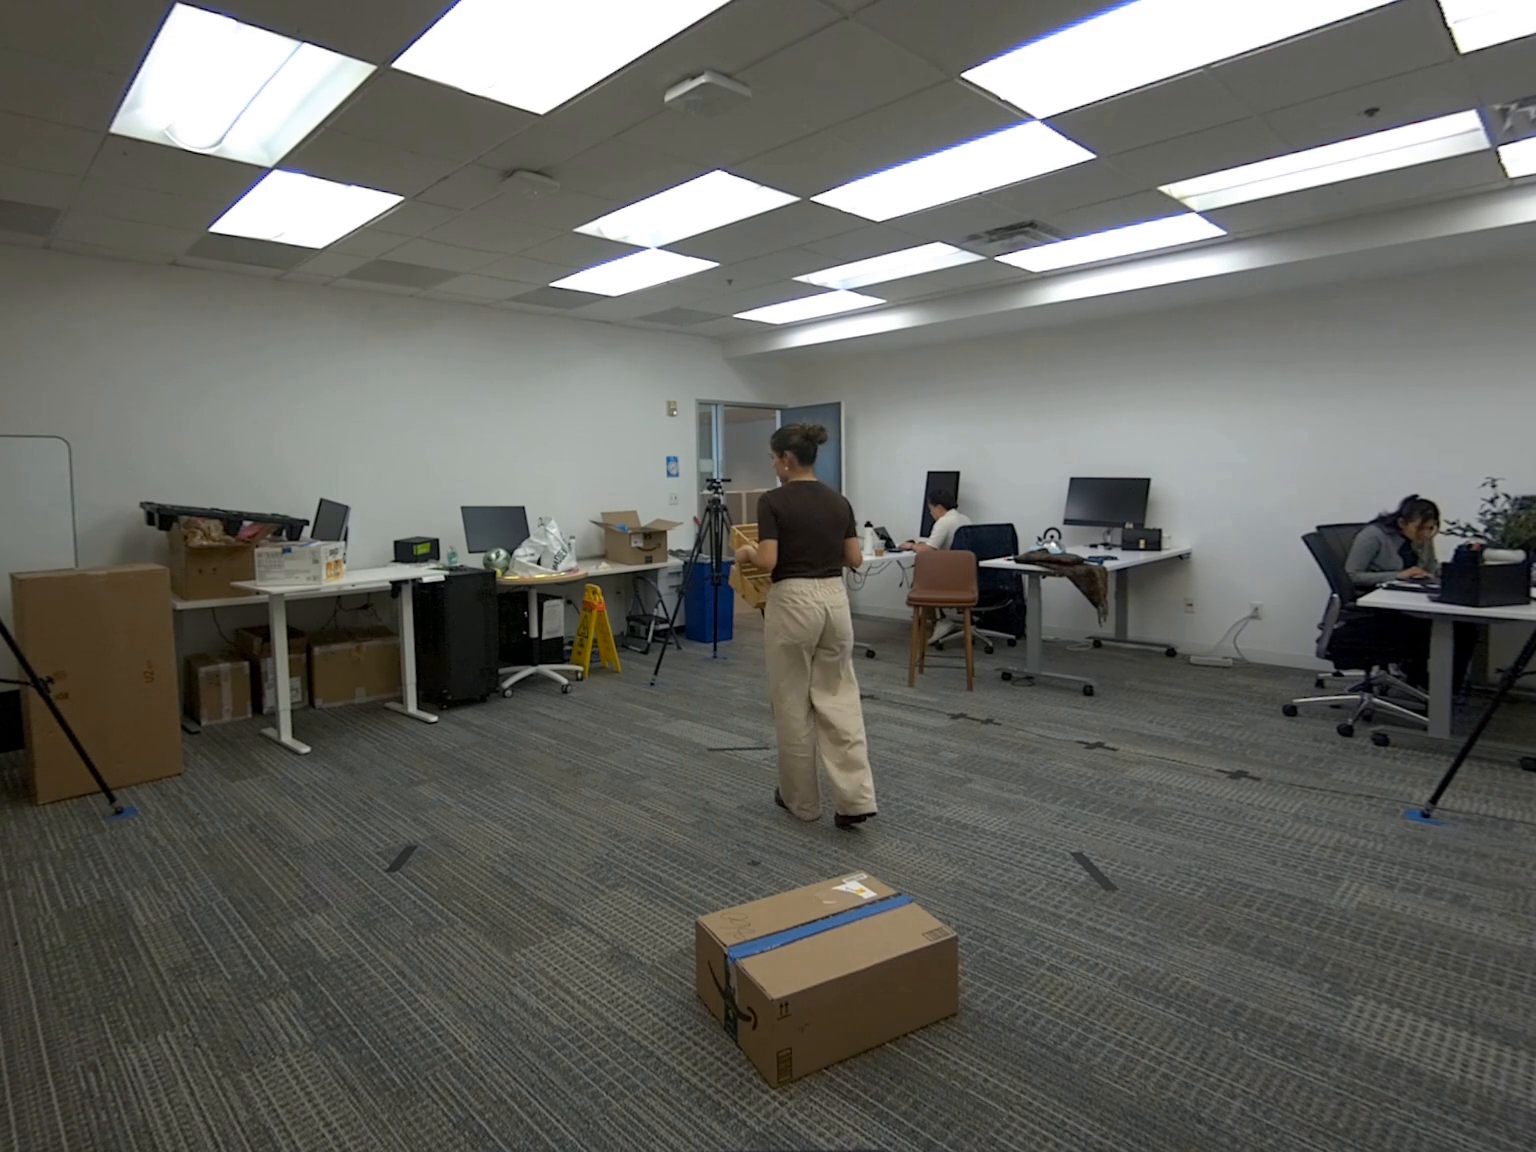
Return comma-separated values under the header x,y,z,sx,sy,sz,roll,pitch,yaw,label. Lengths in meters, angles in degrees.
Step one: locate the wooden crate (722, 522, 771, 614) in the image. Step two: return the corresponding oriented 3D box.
x,y,z,sx,sy,sz,roll,pitch,yaw,label
0.031,-0.051,3.726,0.317,0.269,0.314,-6,28,-30,wooden crate
